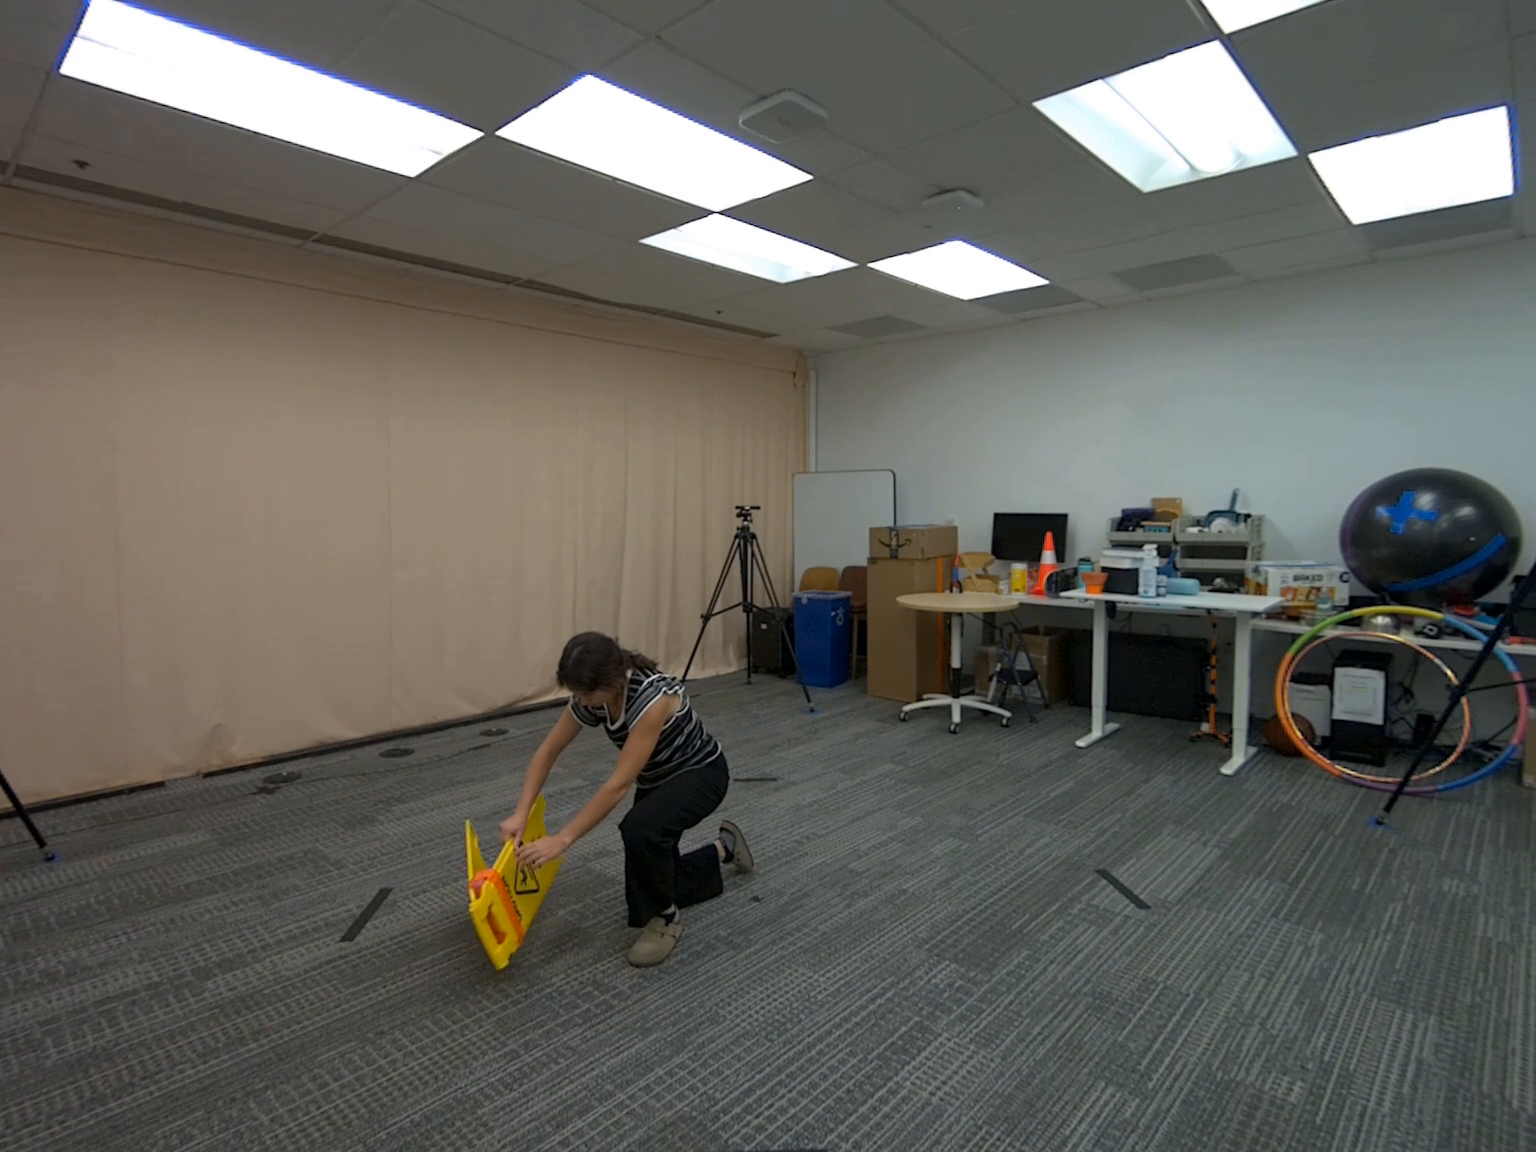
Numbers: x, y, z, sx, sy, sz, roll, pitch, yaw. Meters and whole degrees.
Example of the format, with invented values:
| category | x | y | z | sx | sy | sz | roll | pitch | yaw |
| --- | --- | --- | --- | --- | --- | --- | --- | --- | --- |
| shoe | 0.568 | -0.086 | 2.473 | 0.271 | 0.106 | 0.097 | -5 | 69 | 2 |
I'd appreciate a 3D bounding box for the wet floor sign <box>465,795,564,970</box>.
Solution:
| category | x | y | z | sx | sy | sz | roll | pitch | yaw |
| --- | --- | --- | --- | --- | --- | --- | --- | --- | --- |
| wet floor sign | -0.829 | 0.972 | 2.638 | 0.288 | 0.280 | 0.654 | -22 | 9 | -6 |
